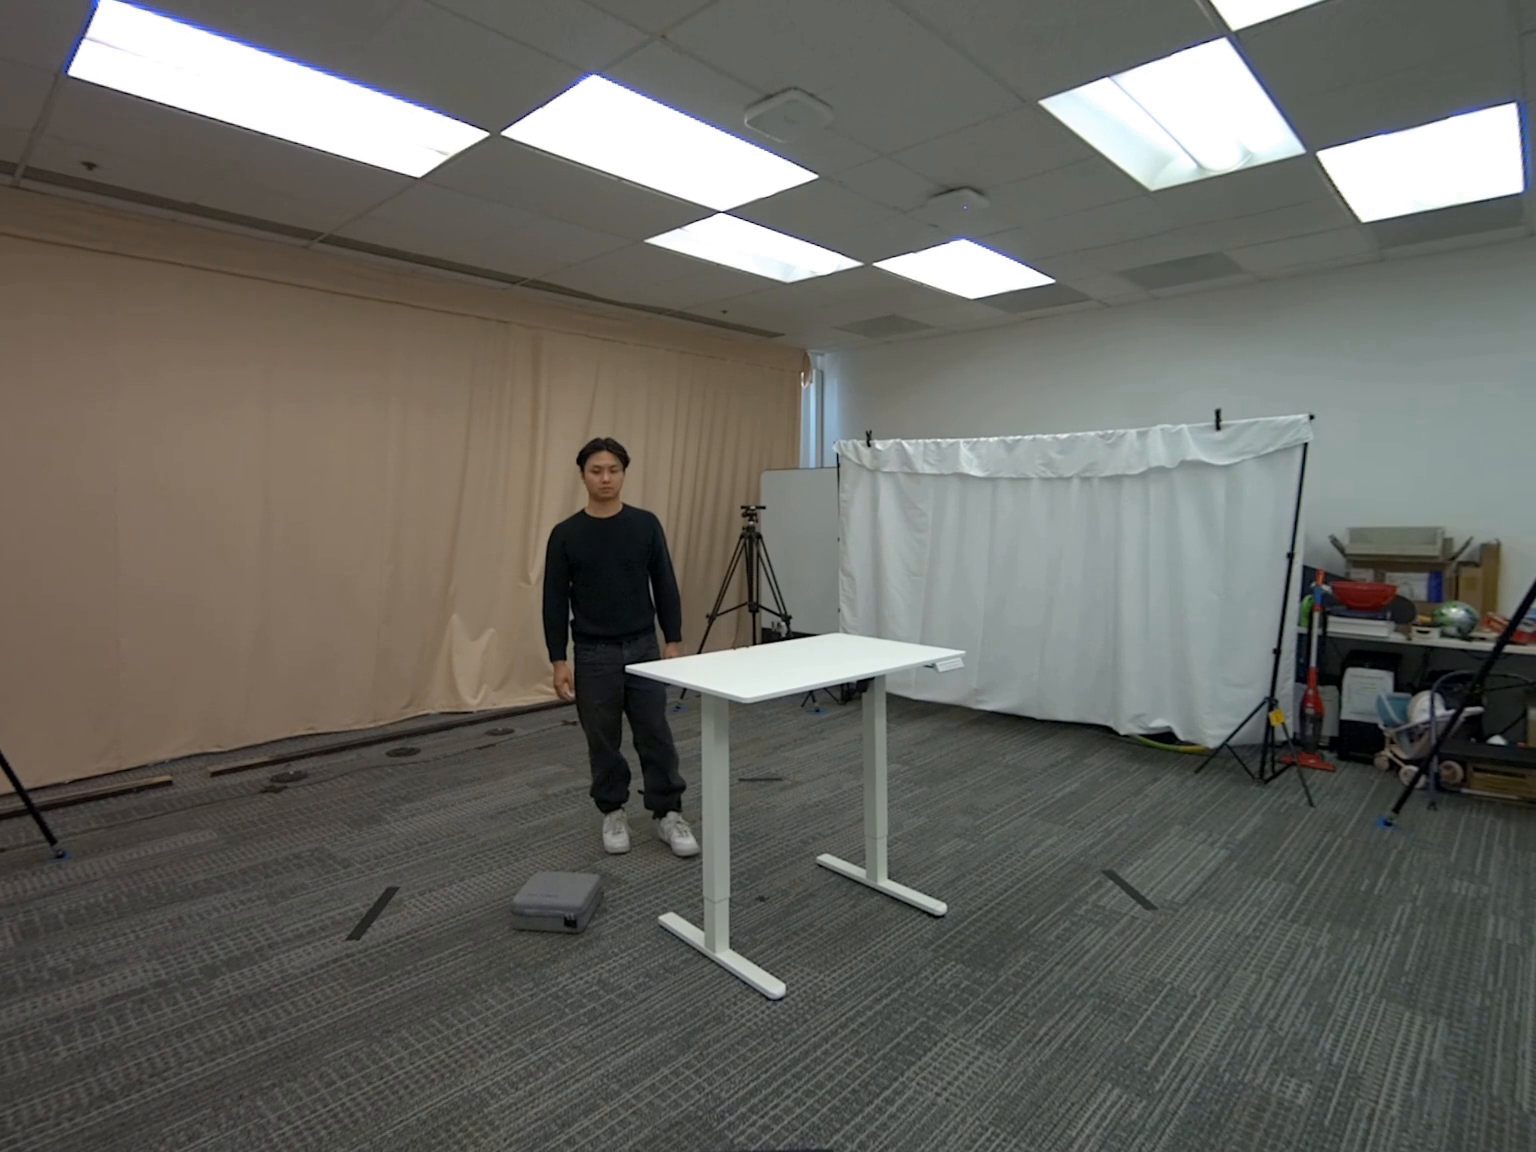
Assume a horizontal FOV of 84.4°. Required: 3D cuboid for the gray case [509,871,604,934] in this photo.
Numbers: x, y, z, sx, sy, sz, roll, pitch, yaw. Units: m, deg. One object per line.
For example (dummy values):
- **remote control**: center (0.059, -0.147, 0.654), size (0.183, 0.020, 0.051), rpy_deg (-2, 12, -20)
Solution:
- **gray case**: center (-0.718, 1.102, 2.866), size (0.259, 0.104, 0.259), rpy_deg (0, 5, 7)
